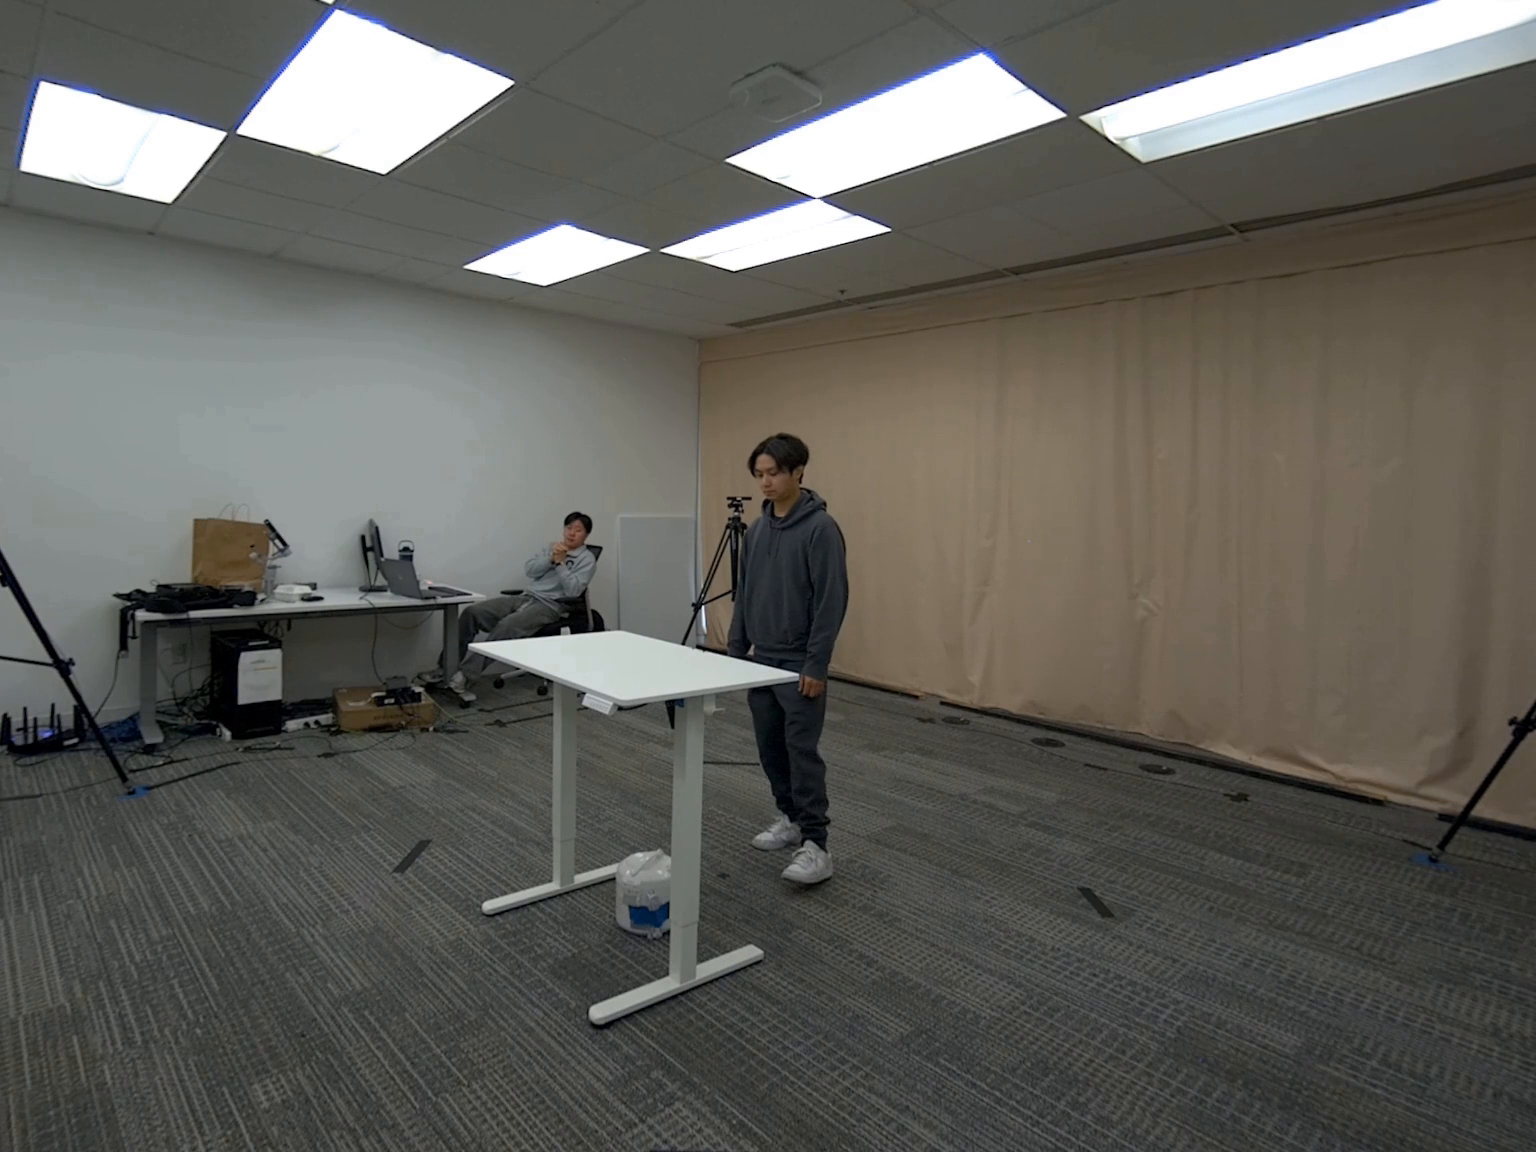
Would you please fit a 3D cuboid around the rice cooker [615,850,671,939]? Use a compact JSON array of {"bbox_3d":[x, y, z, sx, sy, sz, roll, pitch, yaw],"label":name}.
[{"bbox_3d":[-0.397,1.016,2.734,0.222,0.232,0.216,4,5,28],"label":"rice cooker"}]
